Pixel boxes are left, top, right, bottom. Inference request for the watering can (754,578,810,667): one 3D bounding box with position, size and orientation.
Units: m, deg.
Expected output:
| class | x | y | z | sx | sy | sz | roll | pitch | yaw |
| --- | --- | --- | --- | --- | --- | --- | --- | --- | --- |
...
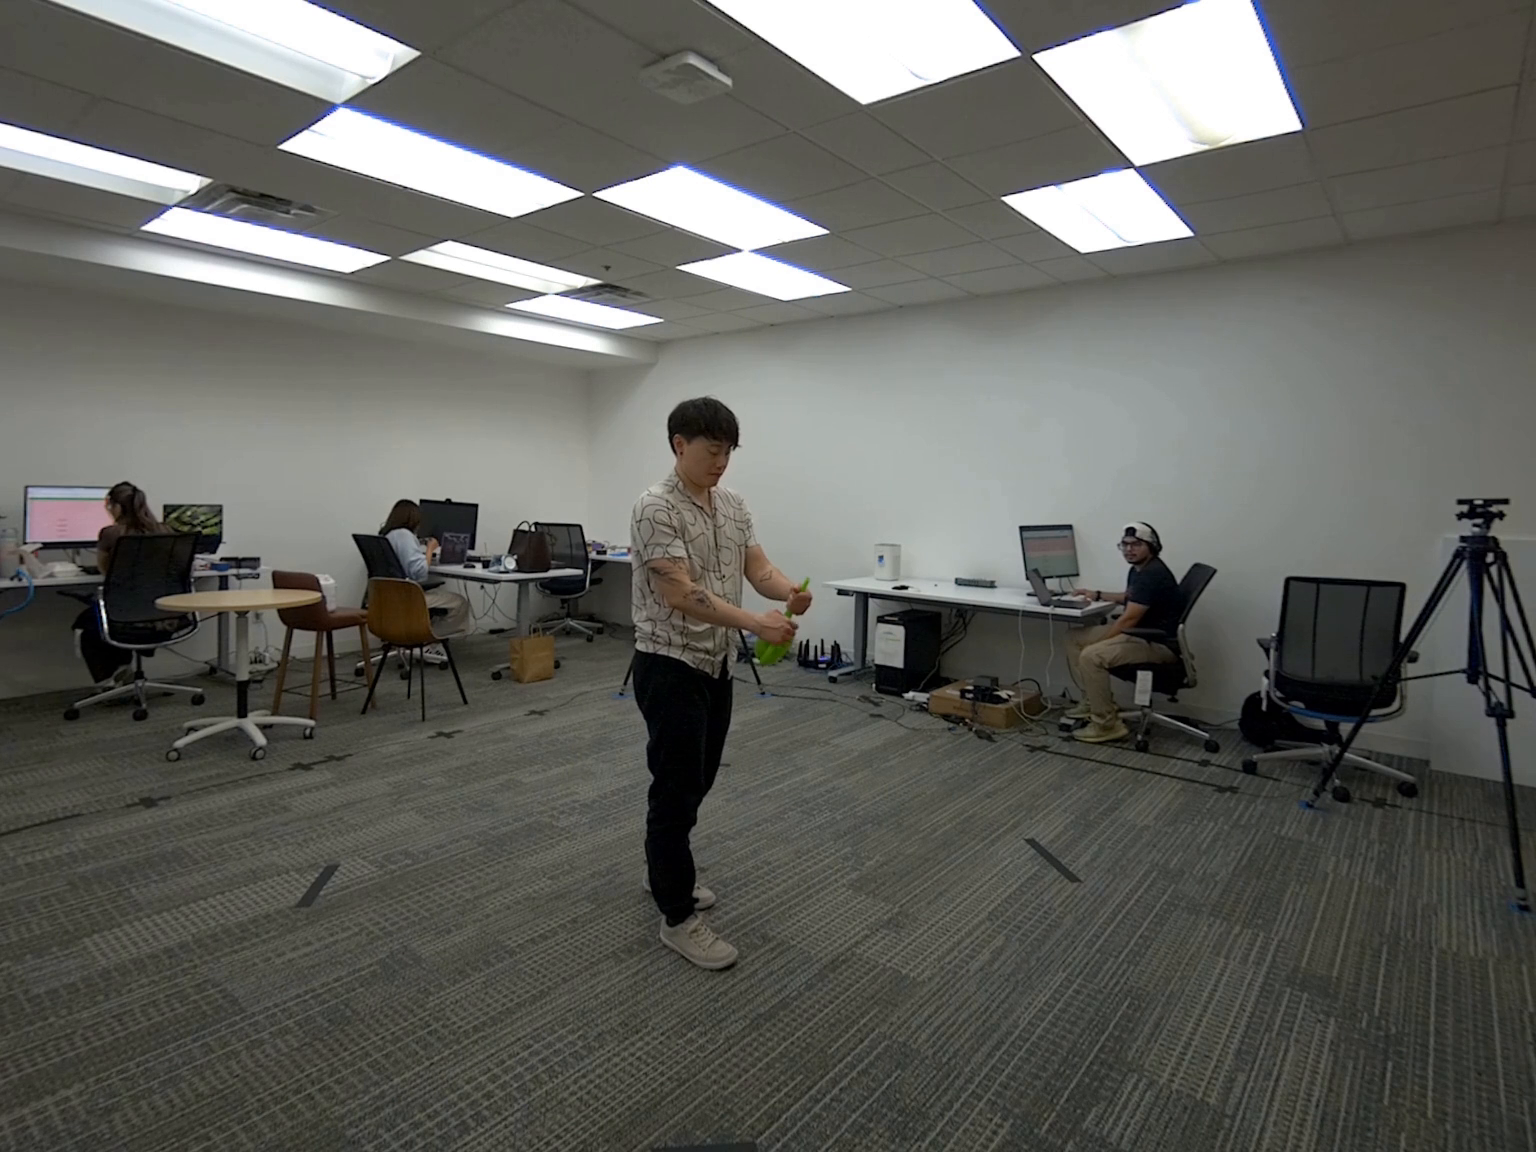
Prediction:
| class | x | y | z | sx | sy | sz | roll | pitch | yaw |
| --- | --- | --- | --- | --- | --- | --- | --- | --- | --- |
| watering can | 0.038 | 0.153 | 2.508 | 0.098 | 0.278 | 0.176 | 39 | -19 | 0 |
